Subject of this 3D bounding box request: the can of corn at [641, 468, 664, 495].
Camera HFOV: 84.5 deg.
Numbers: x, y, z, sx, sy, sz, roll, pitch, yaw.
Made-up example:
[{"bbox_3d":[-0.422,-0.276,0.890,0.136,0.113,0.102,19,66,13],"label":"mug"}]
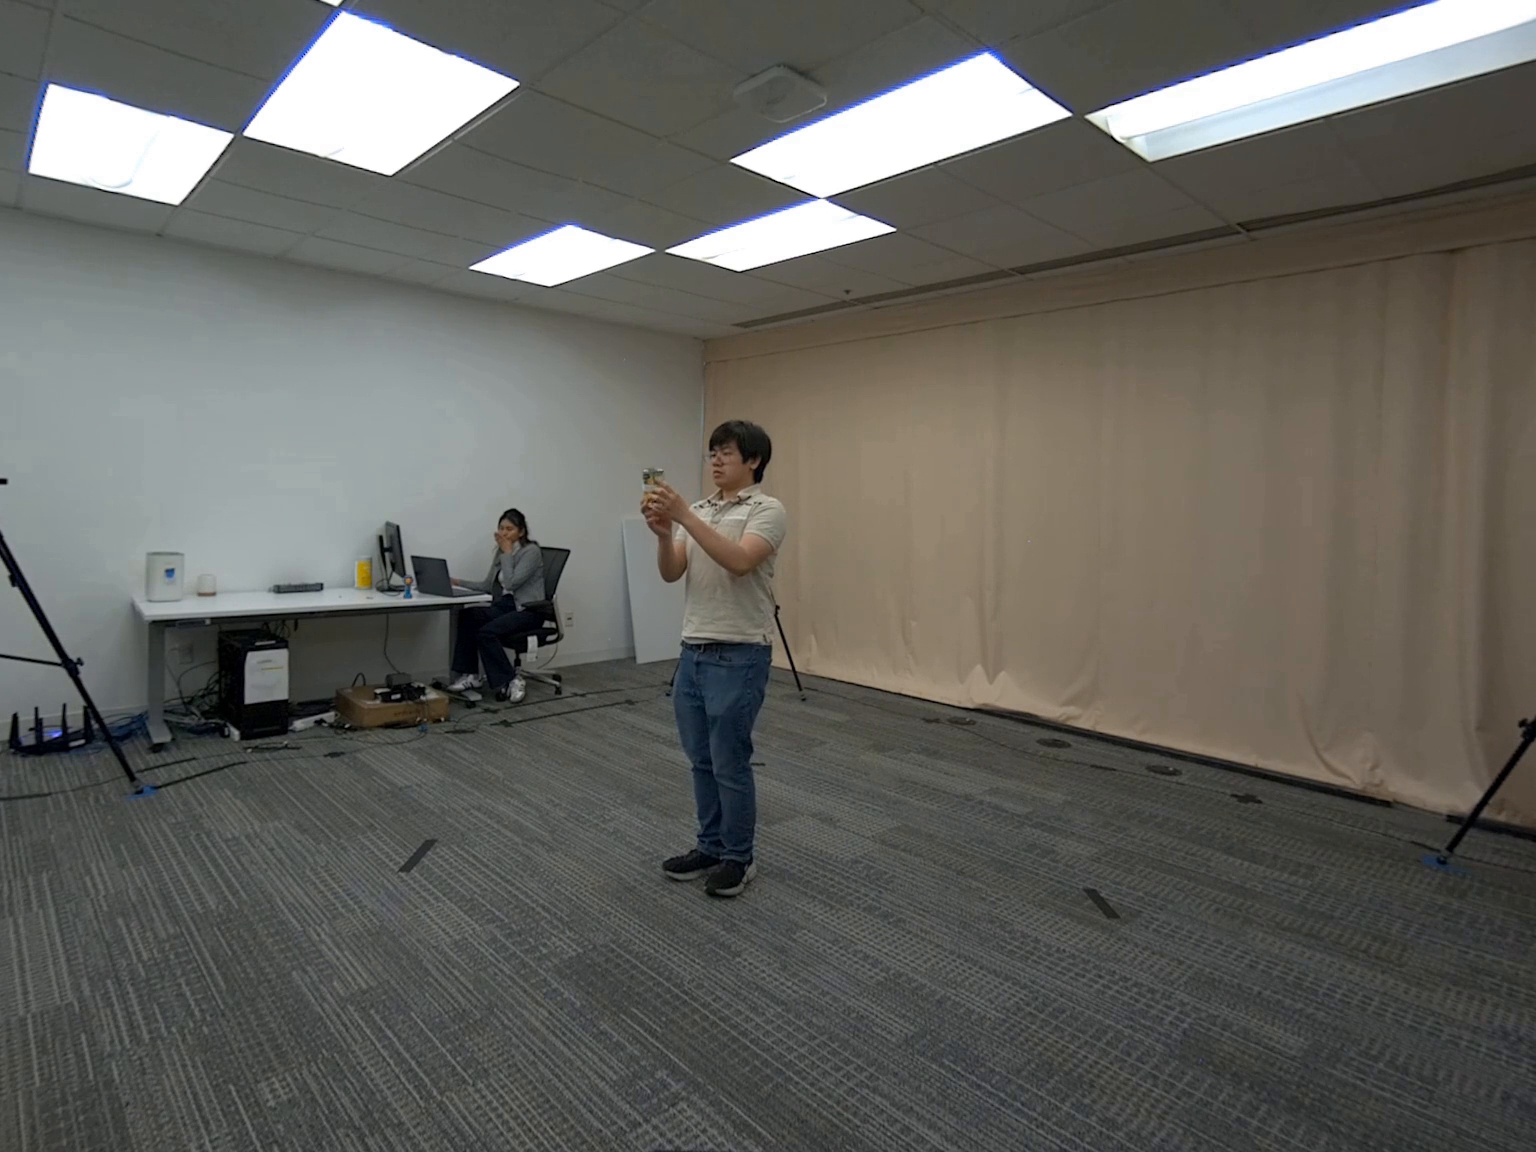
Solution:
[{"bbox_3d":[-0.394,-0.300,2.819,0.074,0.110,0.075,0,16,-1],"label":"can of corn"}]
